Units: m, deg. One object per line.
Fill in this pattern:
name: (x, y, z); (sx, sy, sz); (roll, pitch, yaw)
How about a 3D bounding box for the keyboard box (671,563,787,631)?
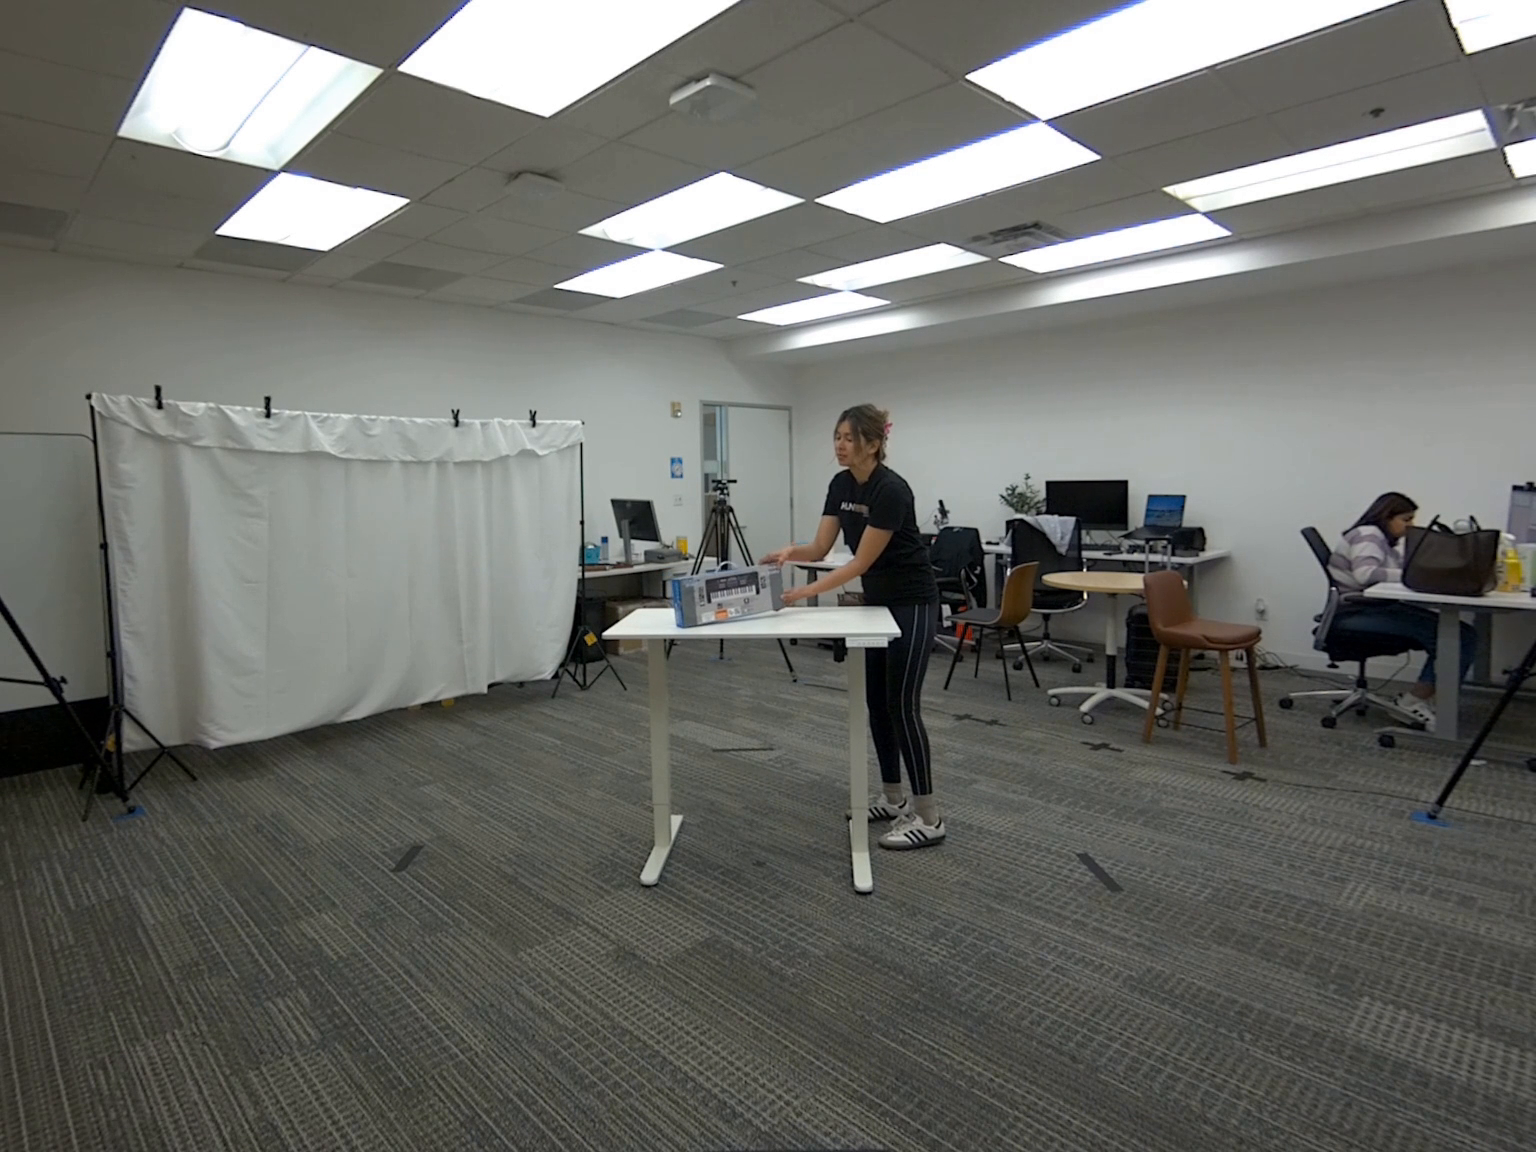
keyboard box: (-0.137, 0.069, 3.109); (0.427, 0.175, 0.060); (-9, 4, -31)
